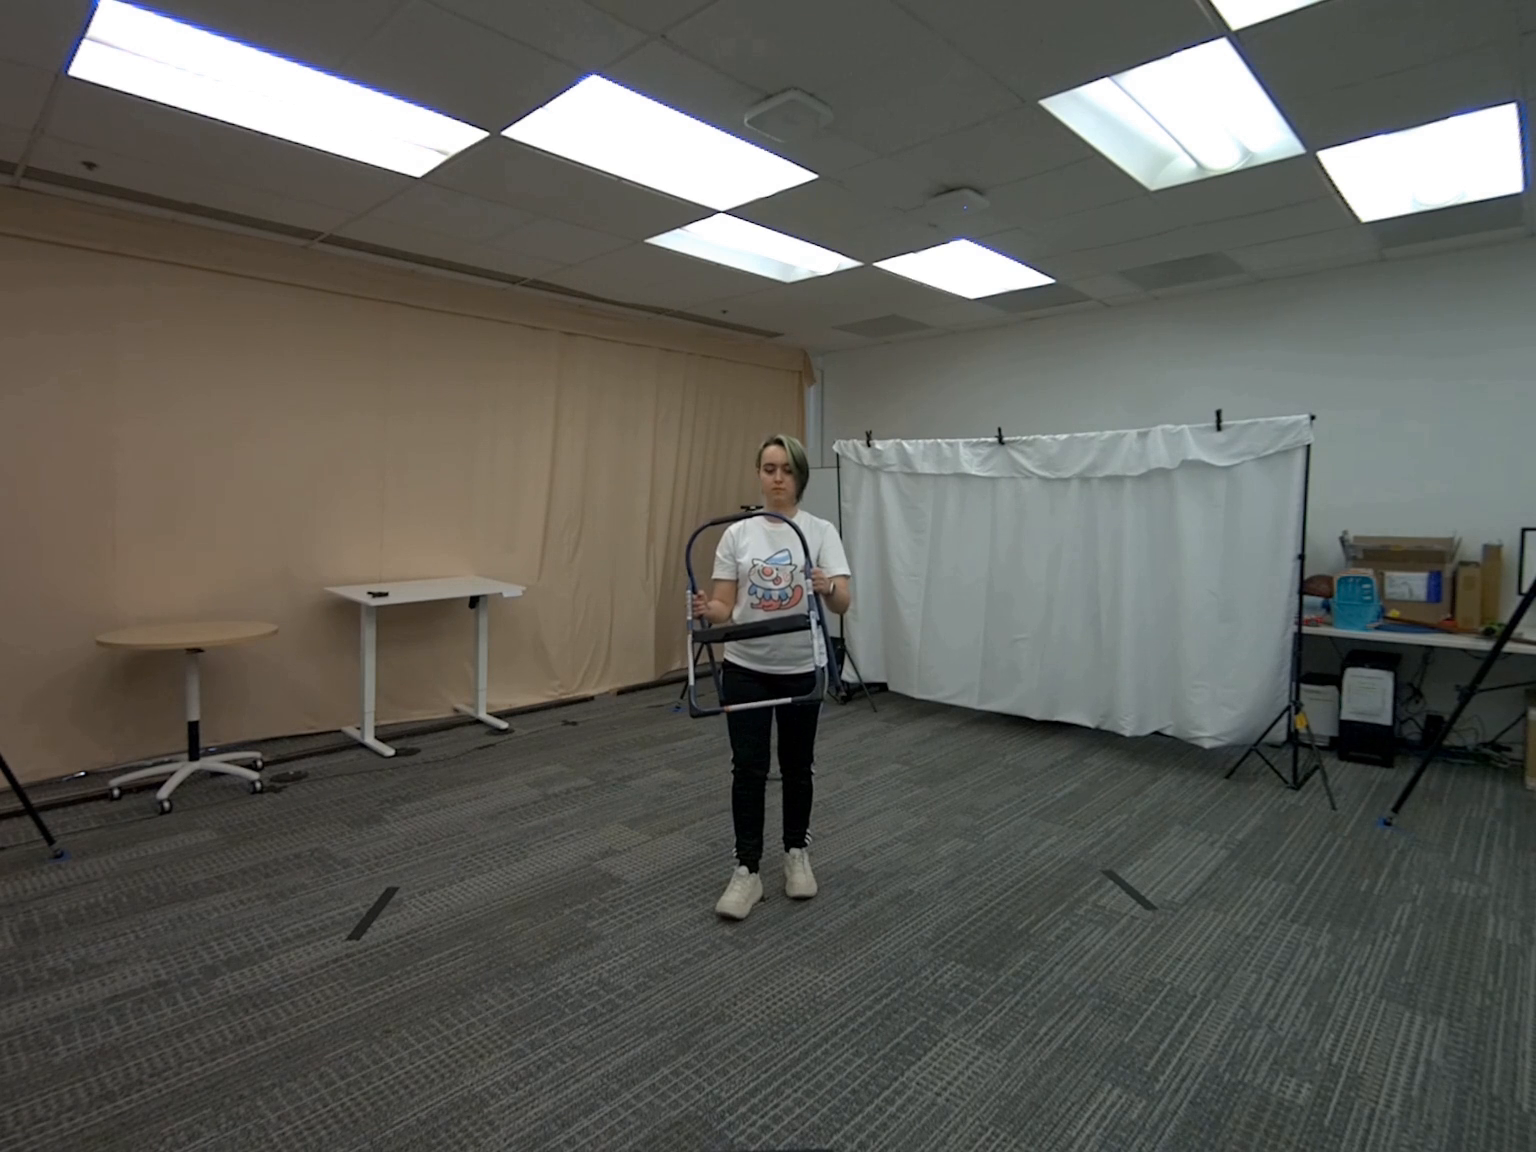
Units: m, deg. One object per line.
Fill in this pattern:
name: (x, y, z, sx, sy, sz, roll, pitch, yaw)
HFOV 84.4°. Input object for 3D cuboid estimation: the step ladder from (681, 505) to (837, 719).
step ladder: (-0.041, 0.111, 2.673, 0.437, 0.610, 0.342, -11, -8, 15)
